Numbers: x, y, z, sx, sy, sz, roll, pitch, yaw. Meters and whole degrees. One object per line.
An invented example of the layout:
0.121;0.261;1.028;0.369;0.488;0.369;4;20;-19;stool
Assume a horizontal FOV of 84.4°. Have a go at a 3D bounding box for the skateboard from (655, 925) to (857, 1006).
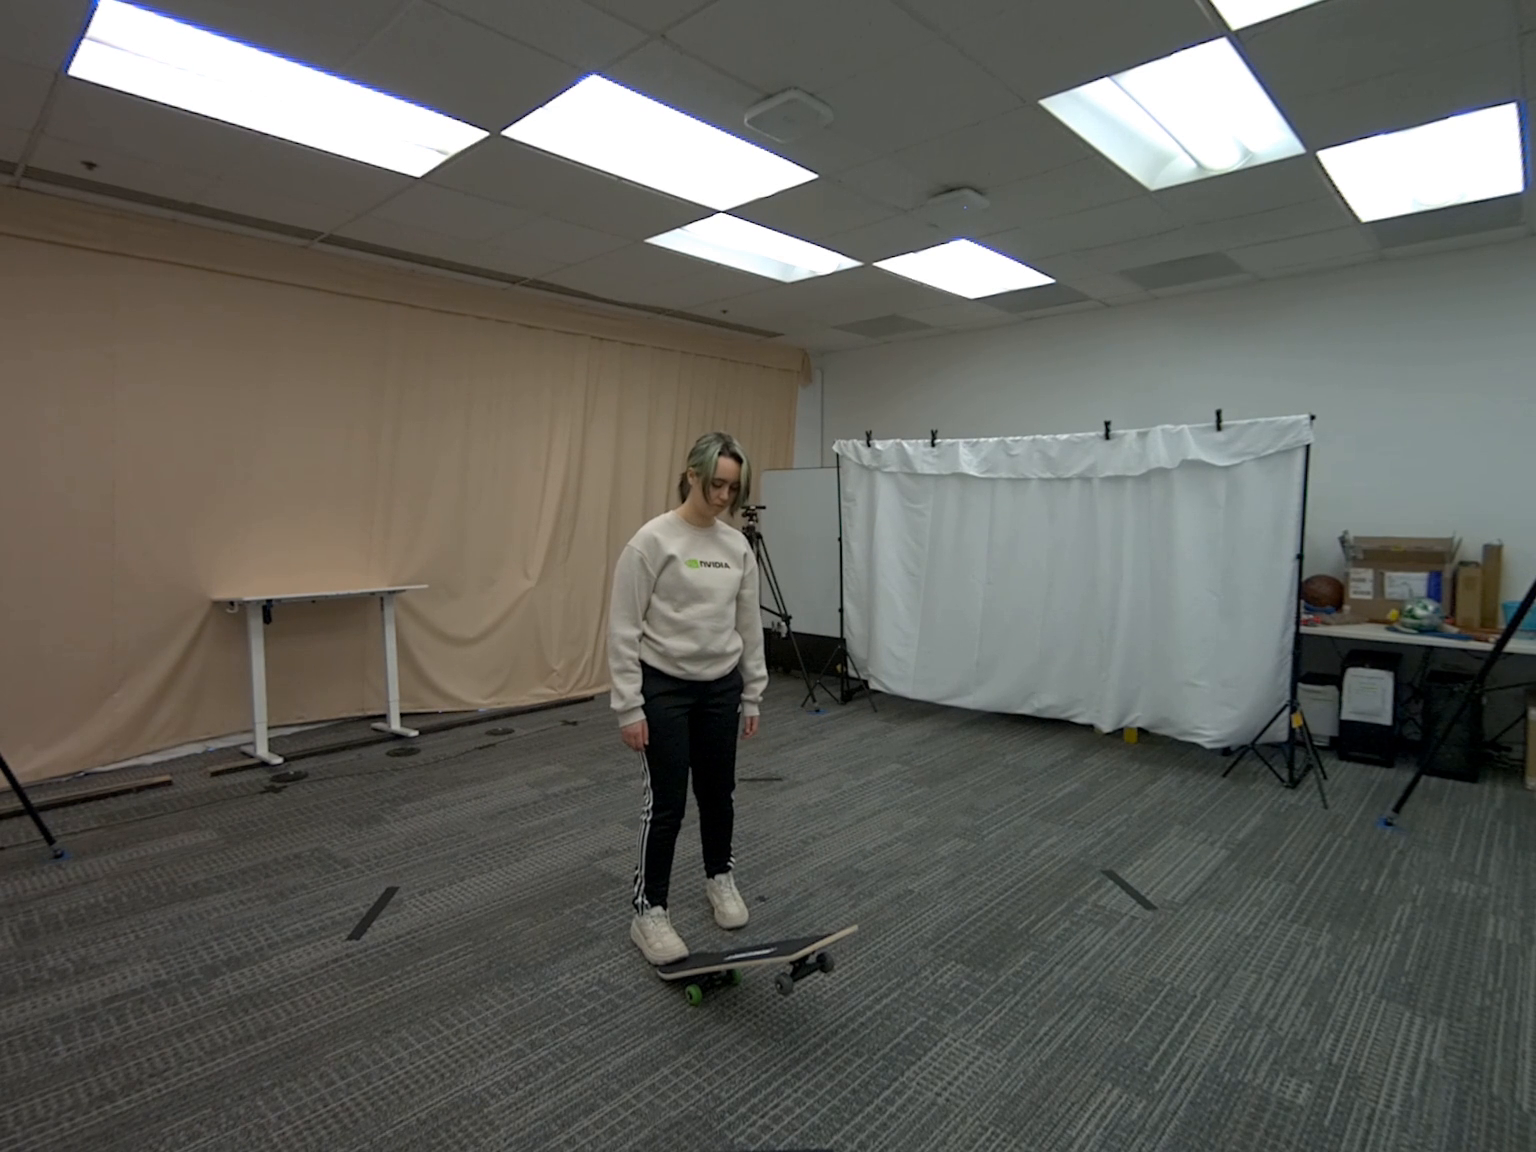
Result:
-0.037;1.061;2.273;0.187;0.112;0.797;-3;-22;-43;skateboard
